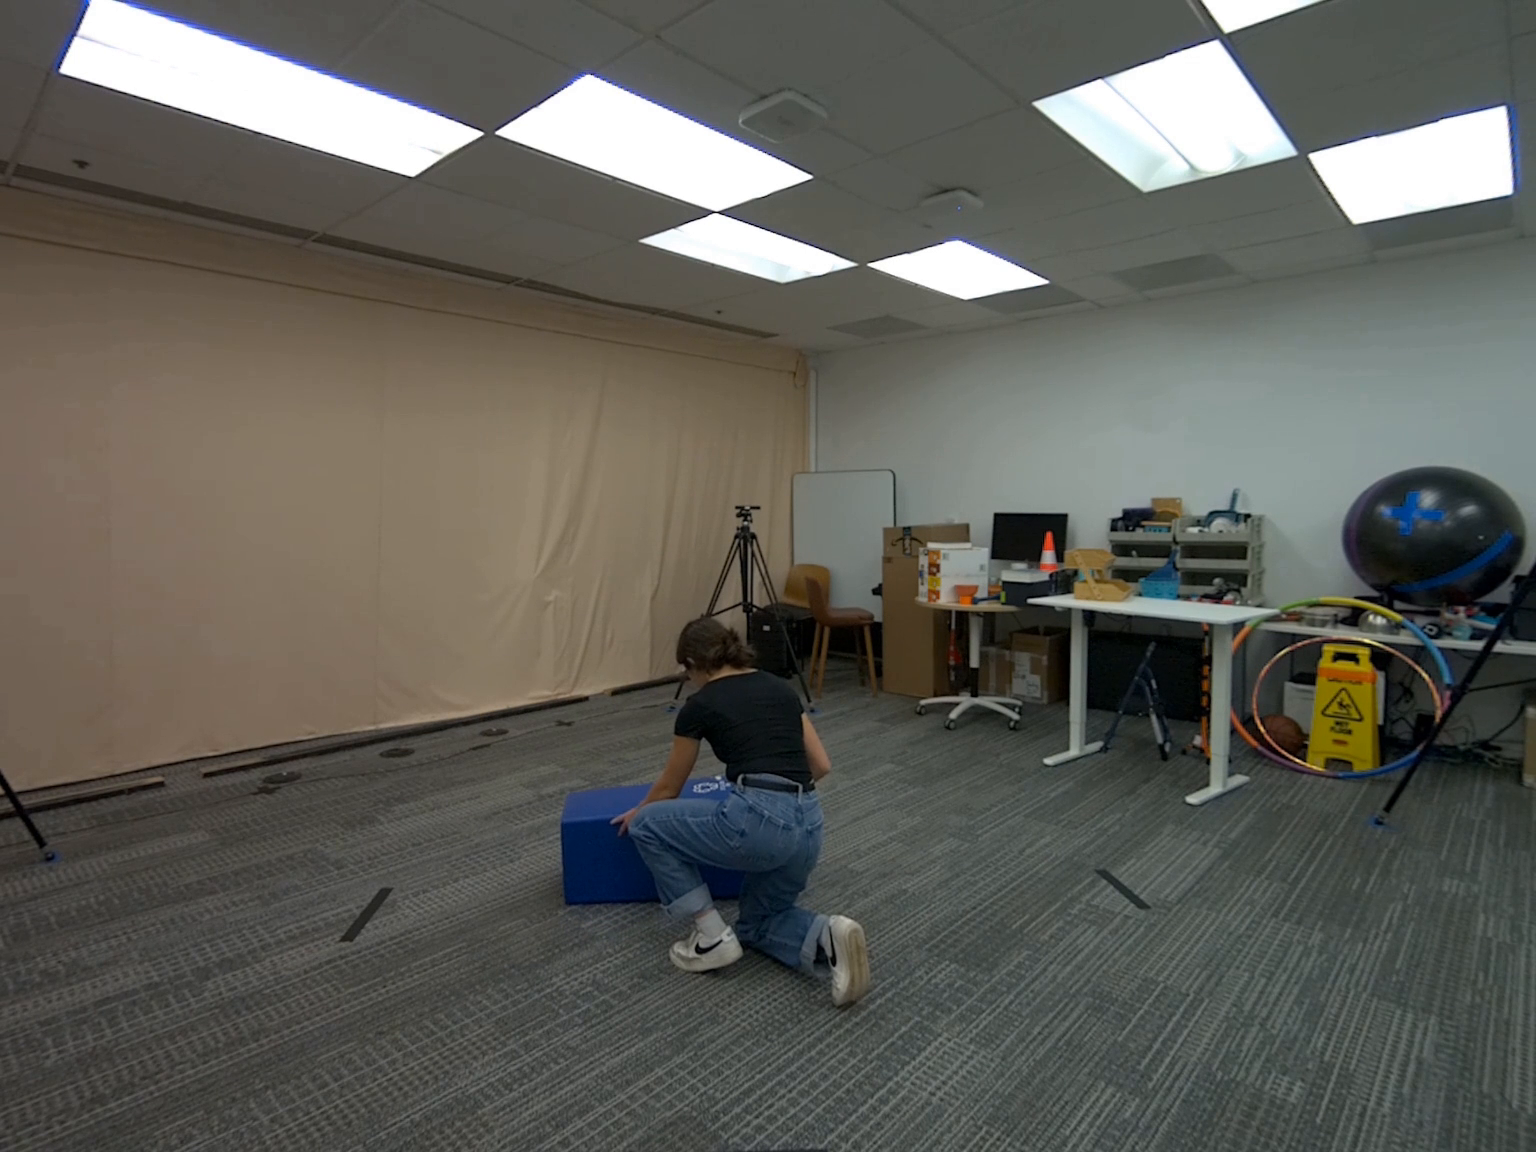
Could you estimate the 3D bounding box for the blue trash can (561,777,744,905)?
[{"bbox_3d":[-0.382,0.970,3.099,0.710,0.377,0.377,-4,4,-5],"label":"blue trash can"}]
